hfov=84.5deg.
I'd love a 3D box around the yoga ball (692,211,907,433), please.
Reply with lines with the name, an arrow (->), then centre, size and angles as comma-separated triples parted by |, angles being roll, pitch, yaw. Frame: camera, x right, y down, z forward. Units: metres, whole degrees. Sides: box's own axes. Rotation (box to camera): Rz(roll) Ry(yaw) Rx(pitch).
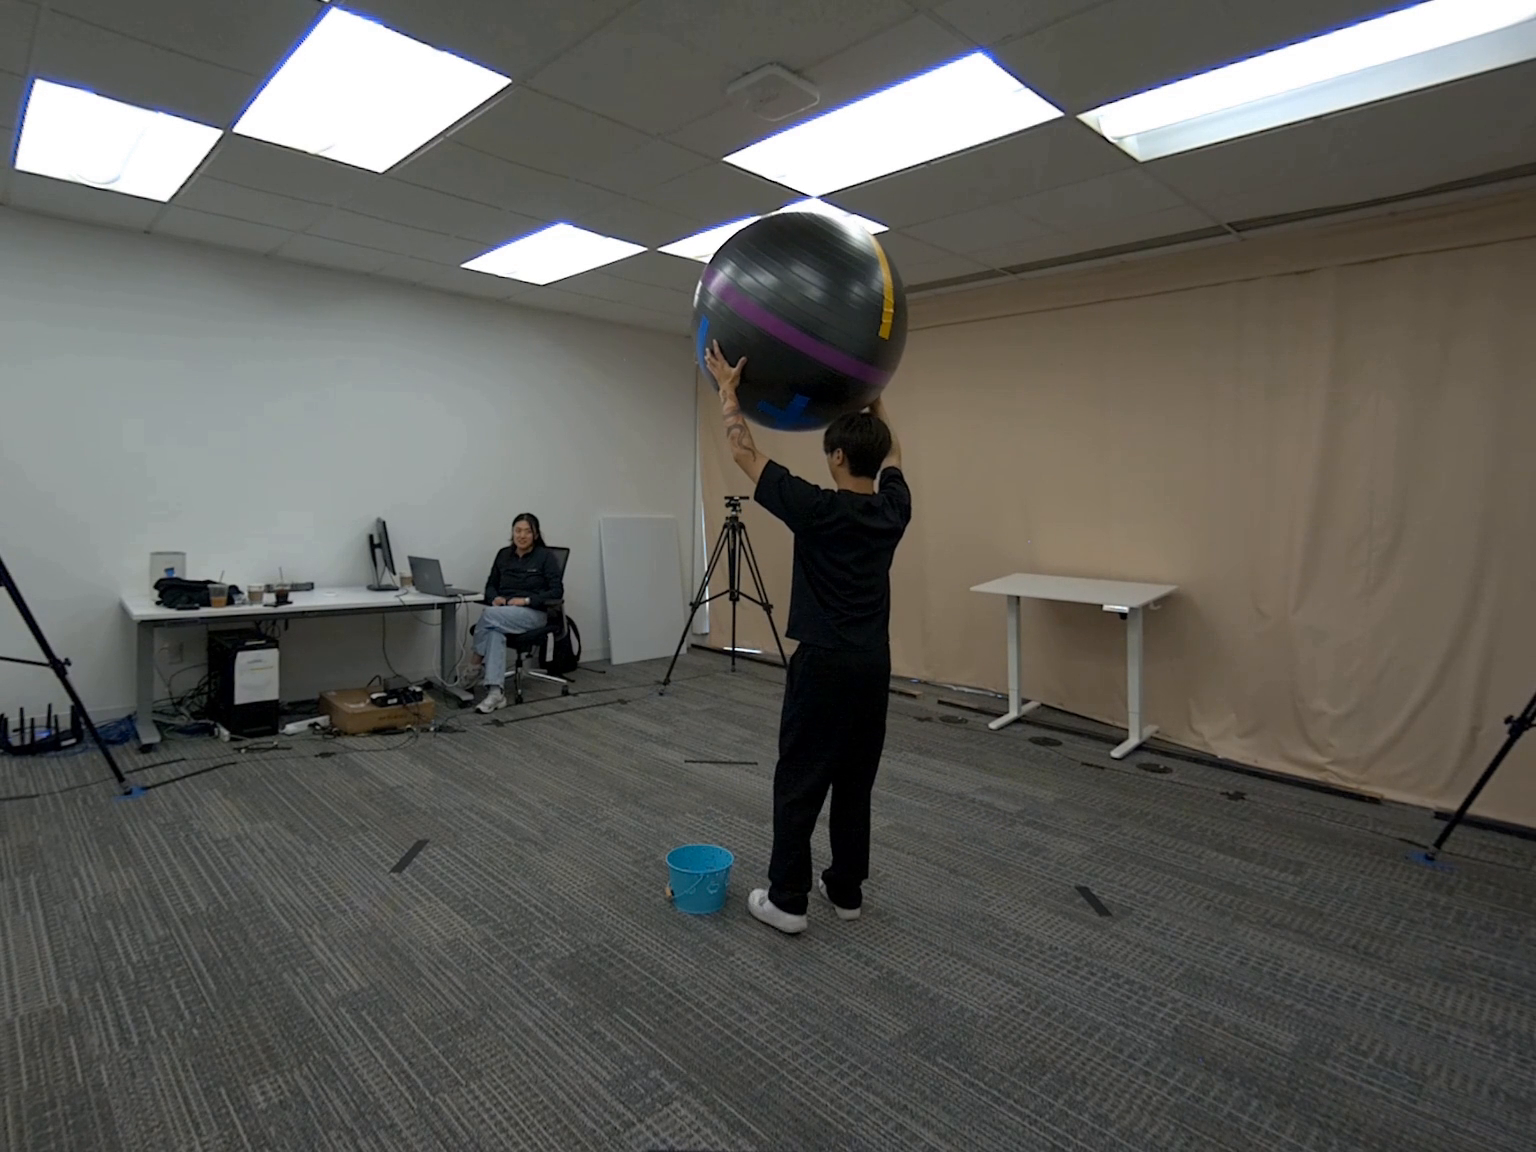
yoga ball -> 0.108, -0.885, 2.978 | 0.757, 0.756, 0.761 | 1, 4, -1
